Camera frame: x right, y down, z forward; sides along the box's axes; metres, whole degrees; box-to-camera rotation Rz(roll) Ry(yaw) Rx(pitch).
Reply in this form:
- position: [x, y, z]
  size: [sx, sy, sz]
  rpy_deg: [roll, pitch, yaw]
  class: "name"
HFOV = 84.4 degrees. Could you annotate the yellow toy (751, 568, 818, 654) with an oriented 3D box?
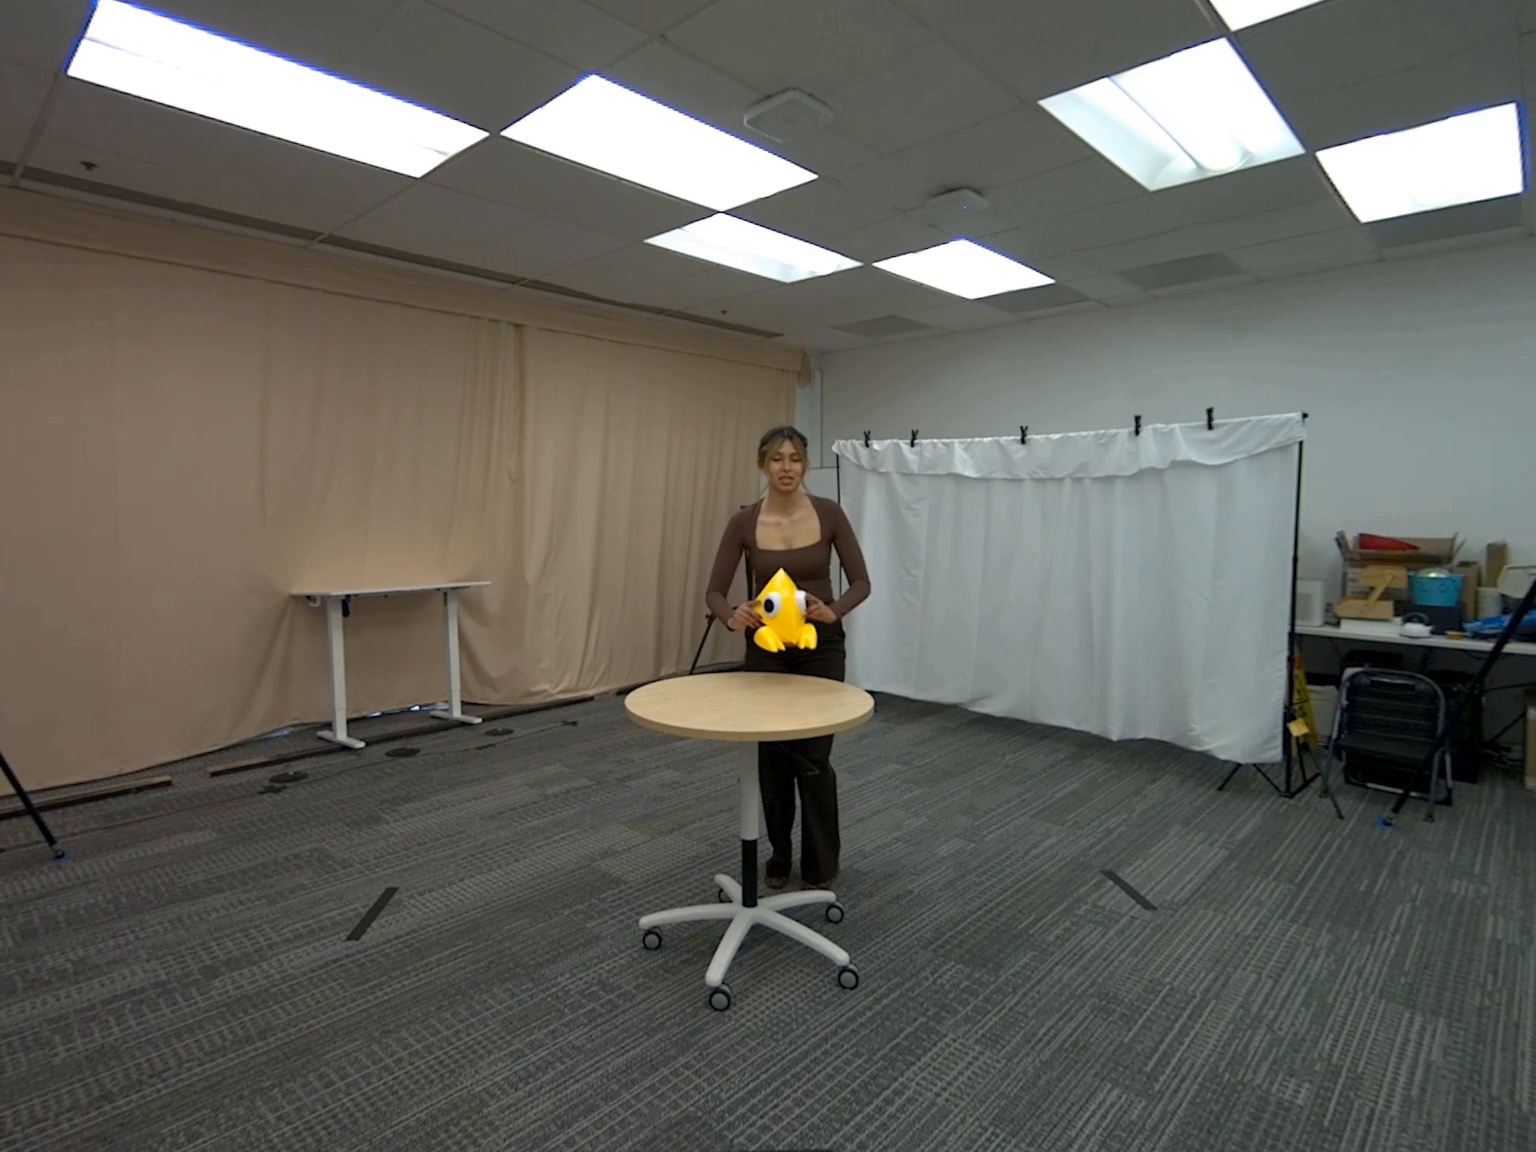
- position: [0.064, 0.098, 2.758]
  size: [0.201, 0.229, 0.198]
  rpy_deg: [-3, 15, -17]
  class: "yellow toy"
